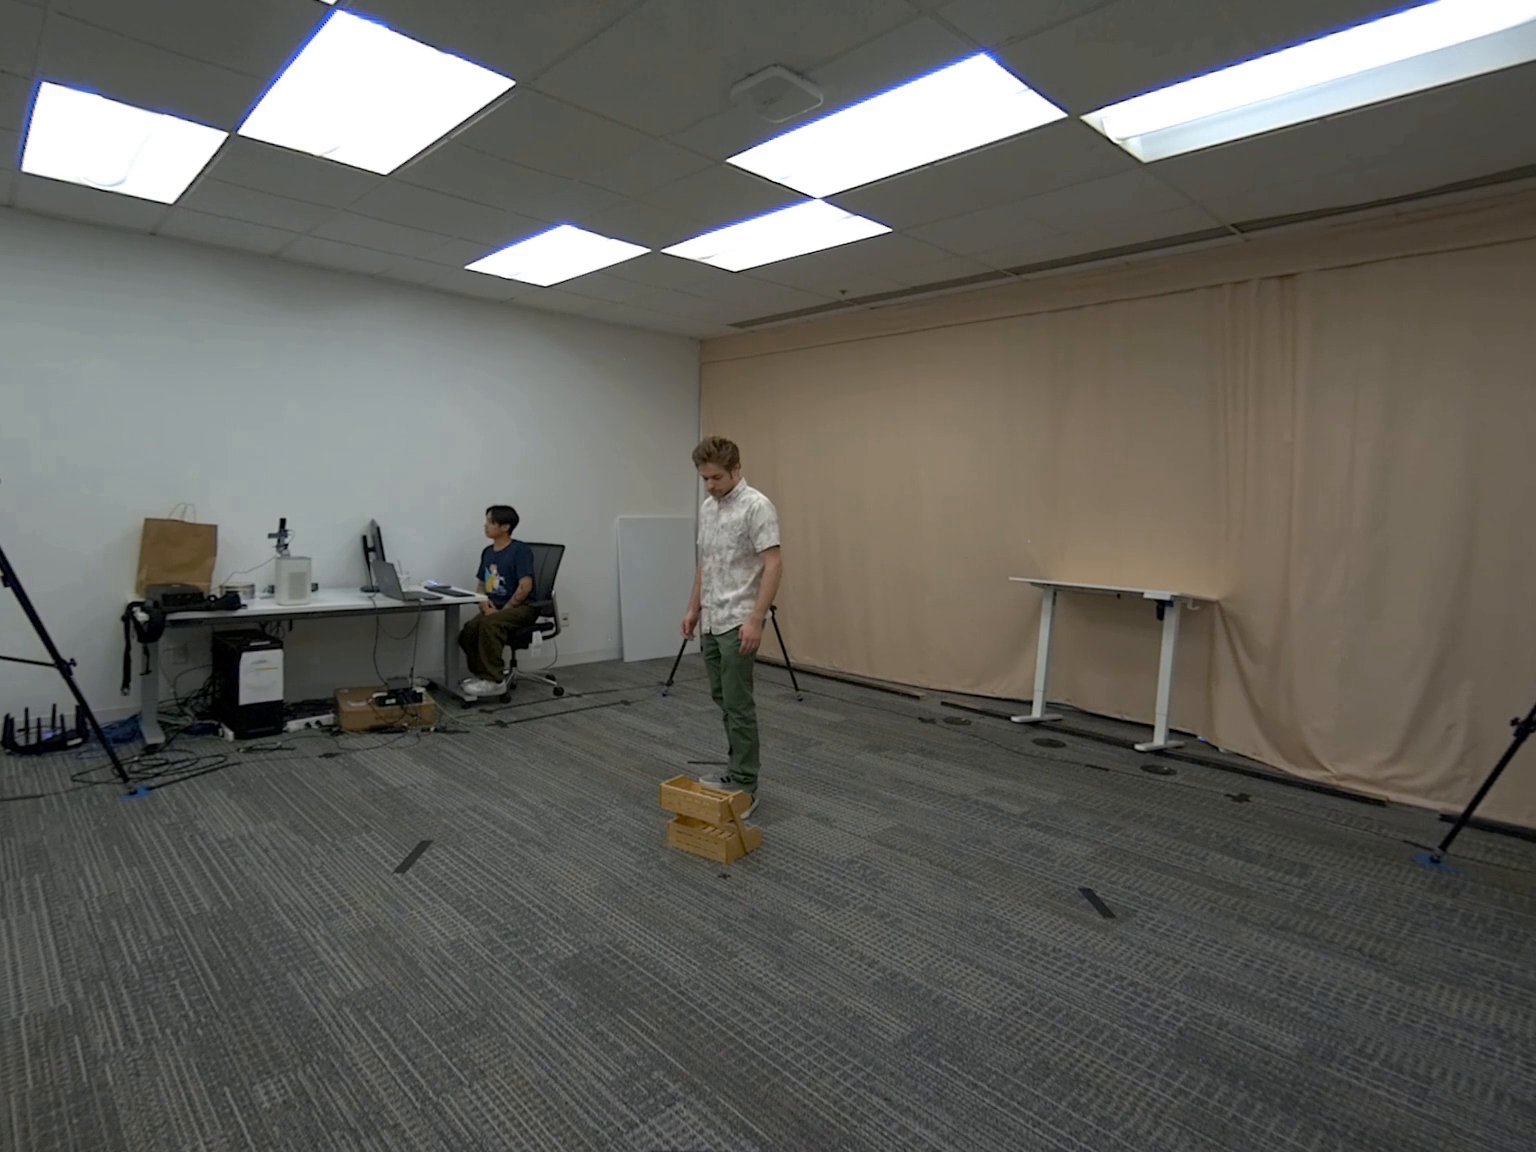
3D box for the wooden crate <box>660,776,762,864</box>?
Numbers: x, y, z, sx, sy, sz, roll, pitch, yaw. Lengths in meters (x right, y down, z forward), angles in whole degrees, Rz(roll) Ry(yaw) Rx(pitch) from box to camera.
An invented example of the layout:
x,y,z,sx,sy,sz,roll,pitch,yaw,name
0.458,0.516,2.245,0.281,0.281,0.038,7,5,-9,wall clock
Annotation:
x,y,z,sx,sy,sz,roll,pitch,yaw,name
-0.233,0.950,3.364,0.332,0.272,0.296,4,5,34,wooden crate
